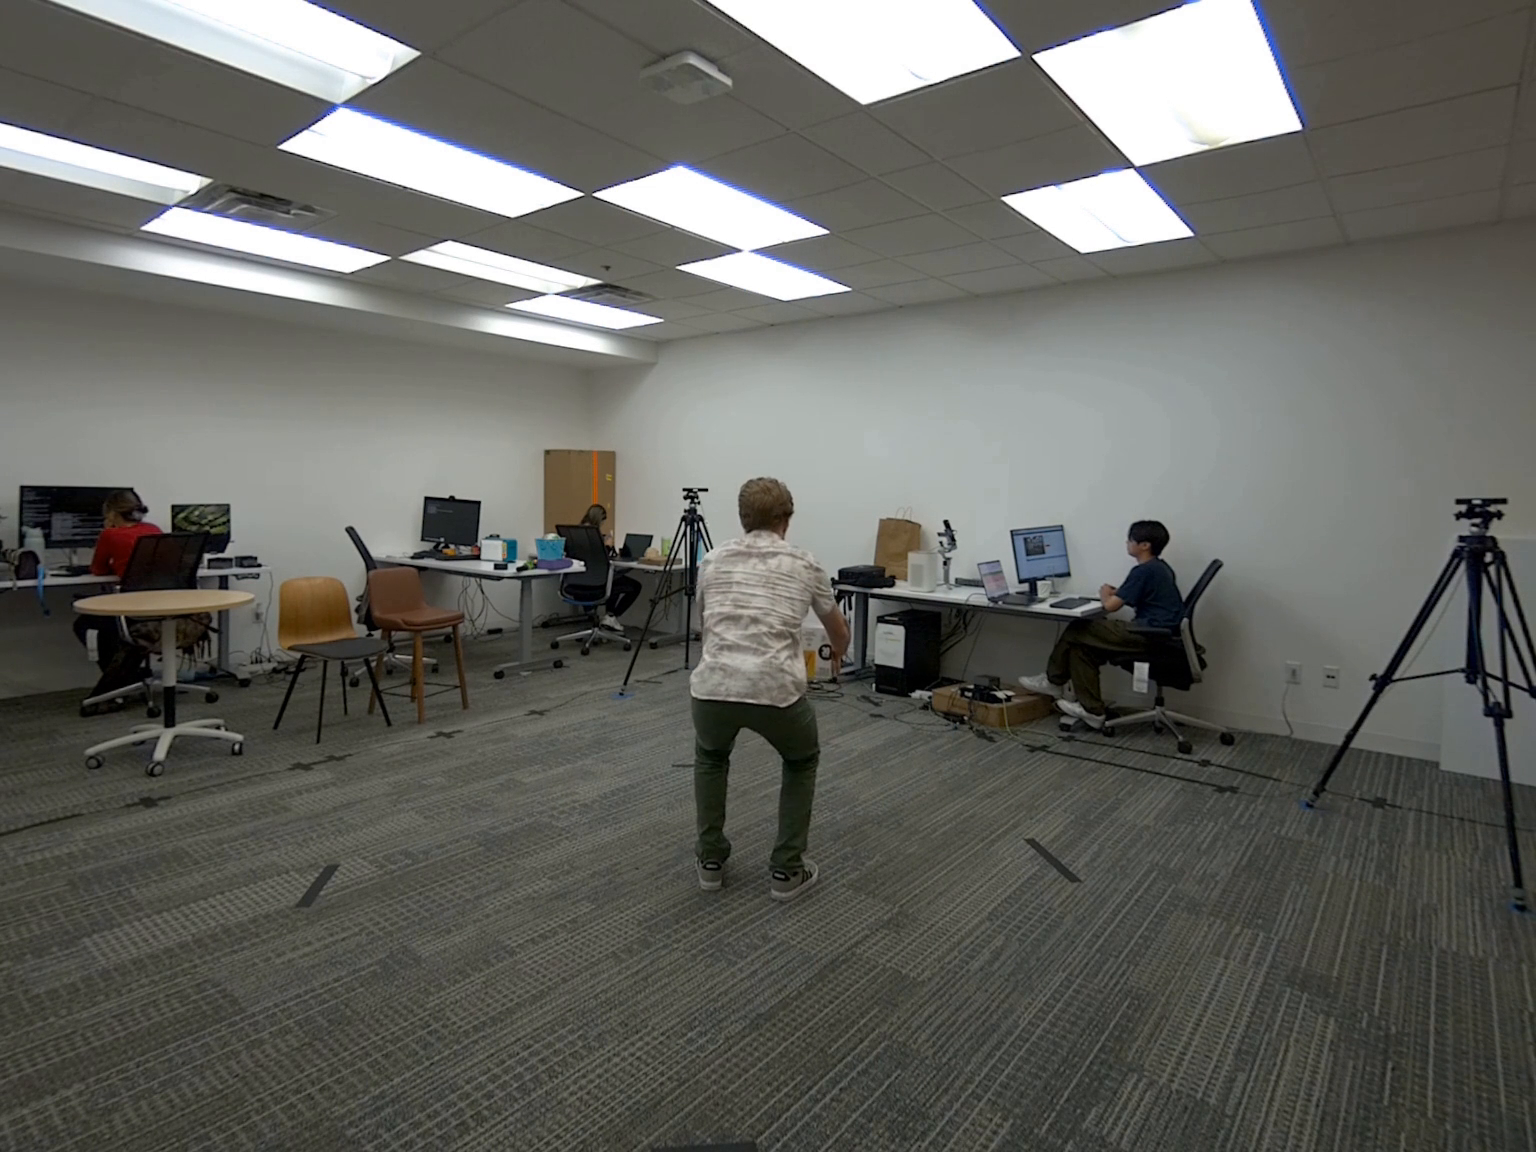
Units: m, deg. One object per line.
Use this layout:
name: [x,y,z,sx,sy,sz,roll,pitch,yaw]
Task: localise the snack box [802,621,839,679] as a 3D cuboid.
snack box: [0.079,0.299,3.560,0.411,0.206,0.334,2,-2,13]
